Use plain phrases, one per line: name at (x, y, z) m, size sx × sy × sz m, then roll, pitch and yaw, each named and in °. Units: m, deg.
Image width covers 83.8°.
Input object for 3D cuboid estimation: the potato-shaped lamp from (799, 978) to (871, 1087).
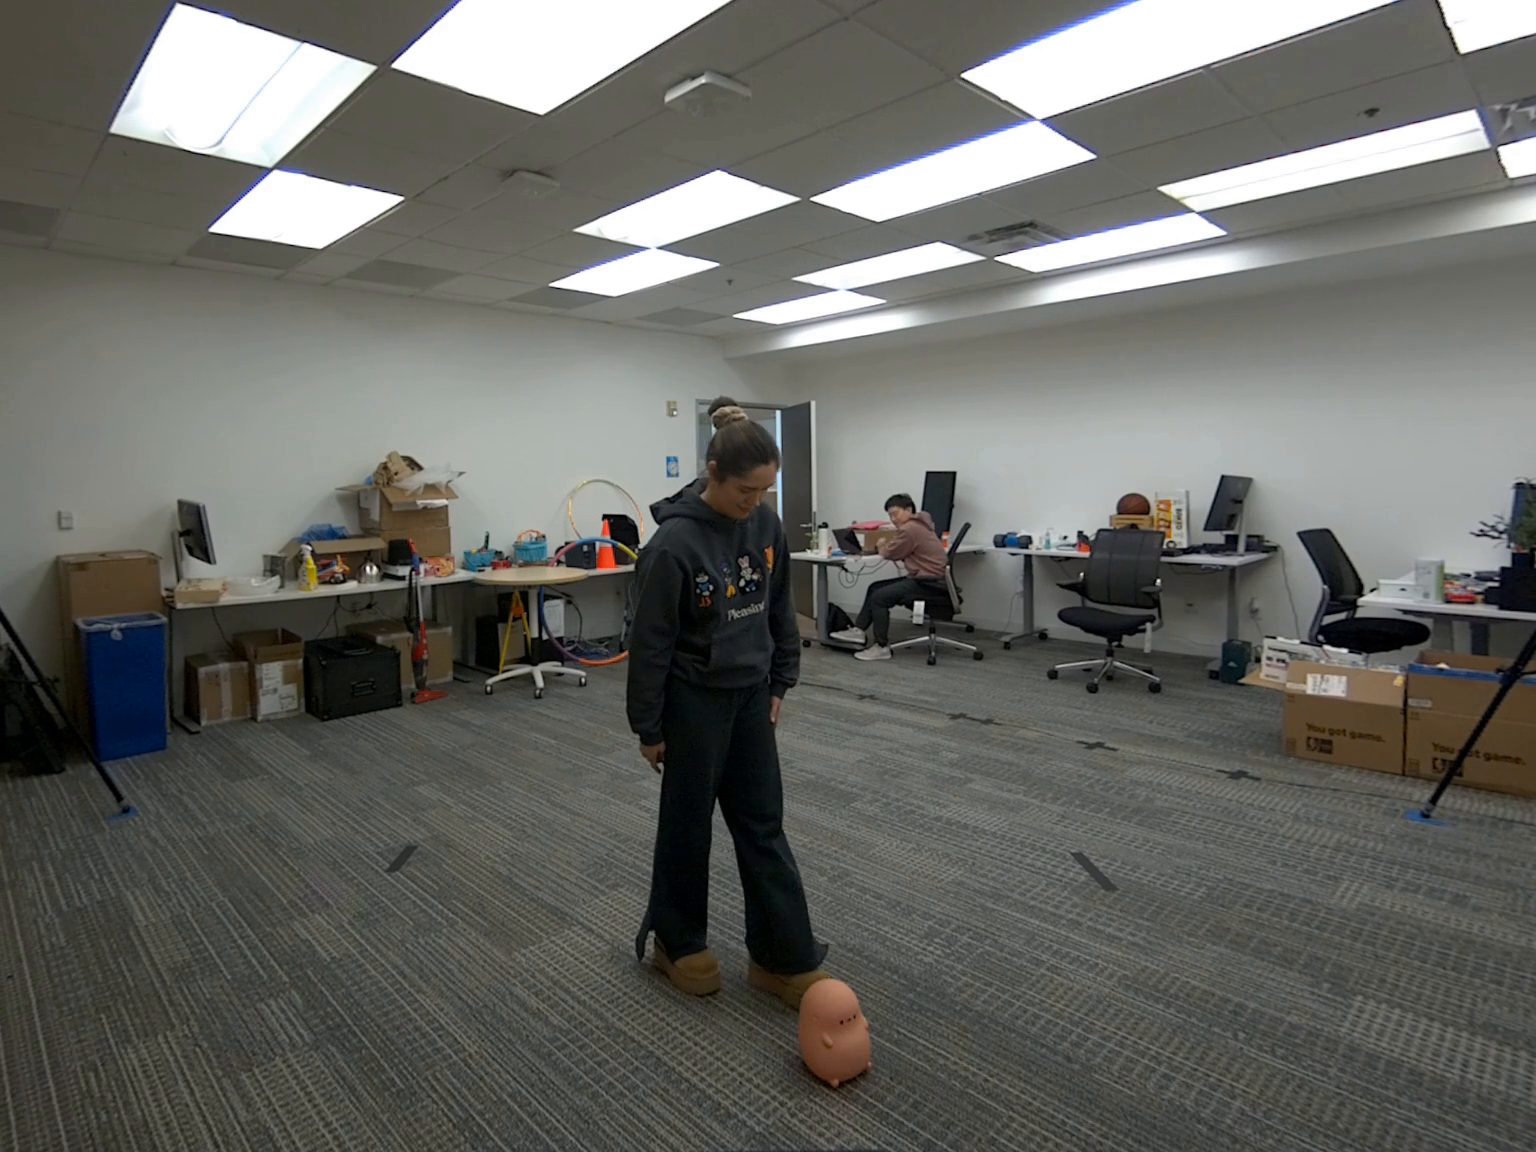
potato-shaped lamp at (0.160, 1.064, 2.019) m, size 0.160 × 0.198 × 0.176 m, roll -3°, pitch -1°, yaw -37°
